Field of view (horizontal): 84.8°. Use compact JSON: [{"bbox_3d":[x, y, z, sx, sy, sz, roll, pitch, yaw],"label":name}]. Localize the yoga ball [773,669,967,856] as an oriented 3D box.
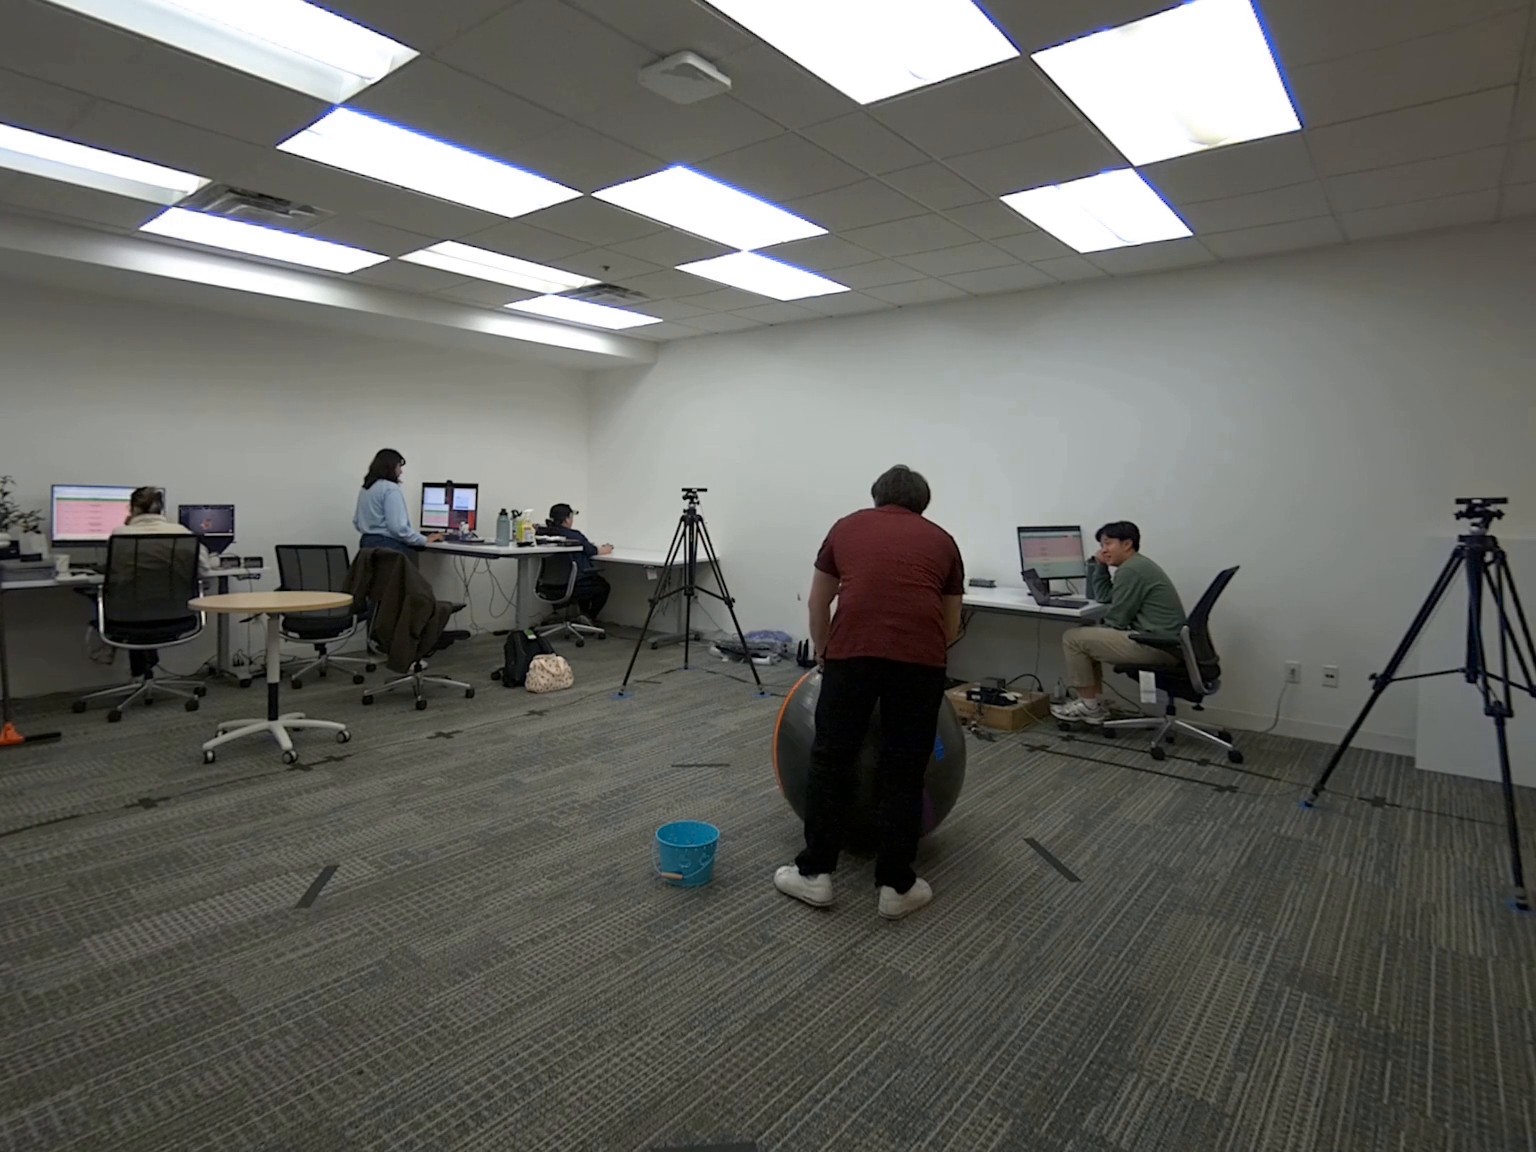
[{"bbox_3d":[0.392,0.696,3.399,0.757,0.755,0.762,1,4,-2],"label":"yoga ball"}]
